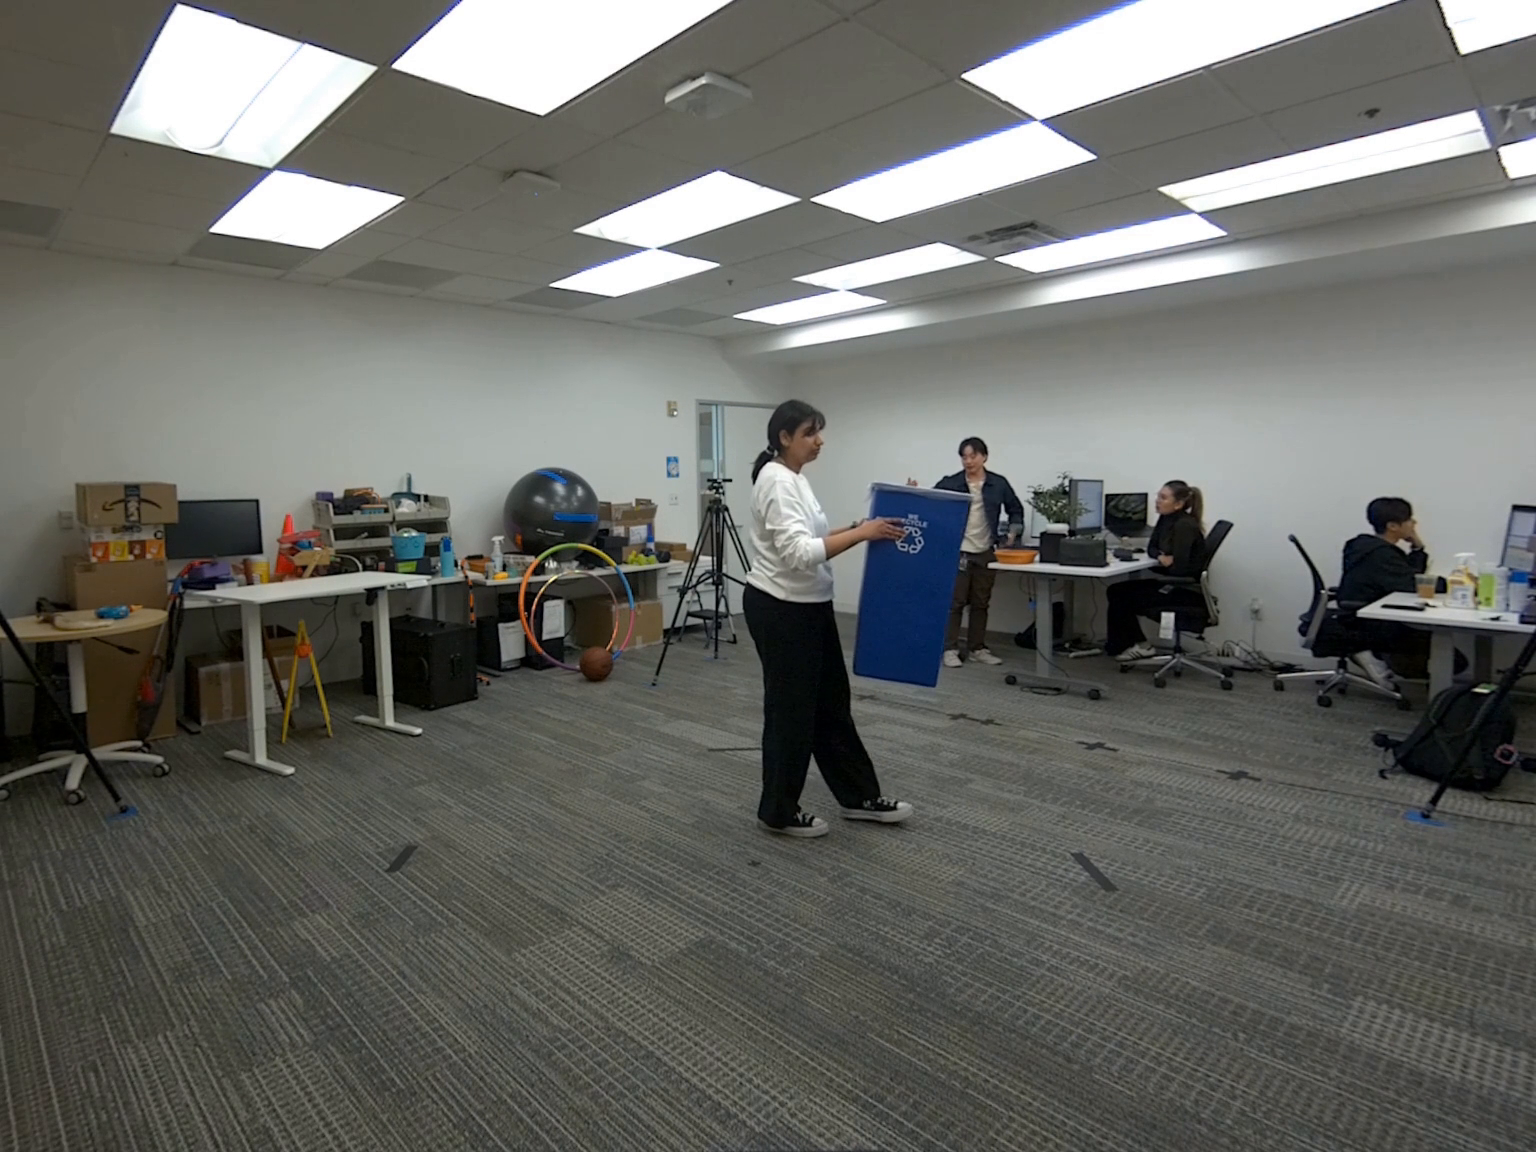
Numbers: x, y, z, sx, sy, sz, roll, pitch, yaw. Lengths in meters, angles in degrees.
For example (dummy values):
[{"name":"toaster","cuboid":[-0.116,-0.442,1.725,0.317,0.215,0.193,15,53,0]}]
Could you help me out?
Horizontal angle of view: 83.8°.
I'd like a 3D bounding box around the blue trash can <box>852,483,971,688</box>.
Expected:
[{"name":"blue trash can","cuboid":[0.538,0.025,3.258,0.378,0.712,0.375,8,3,9]}]
